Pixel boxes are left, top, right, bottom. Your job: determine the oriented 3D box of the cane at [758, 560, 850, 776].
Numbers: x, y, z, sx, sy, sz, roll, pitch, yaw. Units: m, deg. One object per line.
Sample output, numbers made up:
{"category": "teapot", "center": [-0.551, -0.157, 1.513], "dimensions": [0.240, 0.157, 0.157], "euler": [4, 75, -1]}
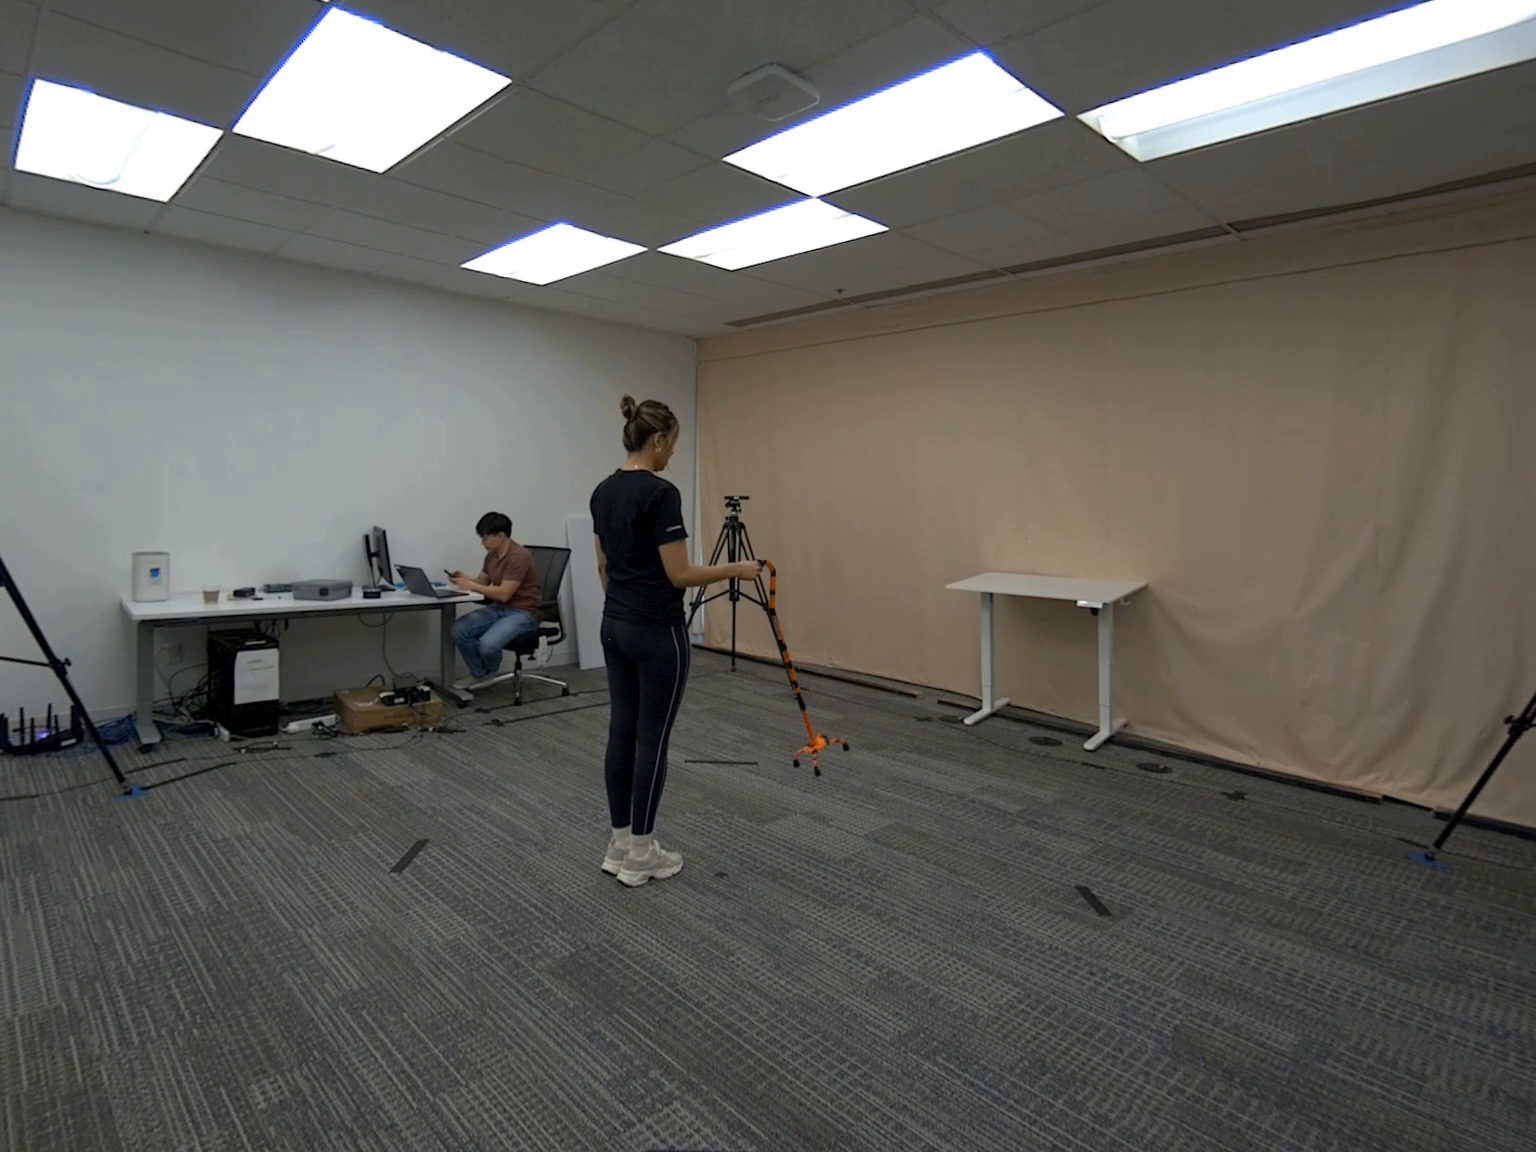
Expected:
{"category": "cane", "center": [0.089, 0.352, 3.299], "dimensions": [0.155, 0.891, 0.205], "euler": [6, 30, 45]}
